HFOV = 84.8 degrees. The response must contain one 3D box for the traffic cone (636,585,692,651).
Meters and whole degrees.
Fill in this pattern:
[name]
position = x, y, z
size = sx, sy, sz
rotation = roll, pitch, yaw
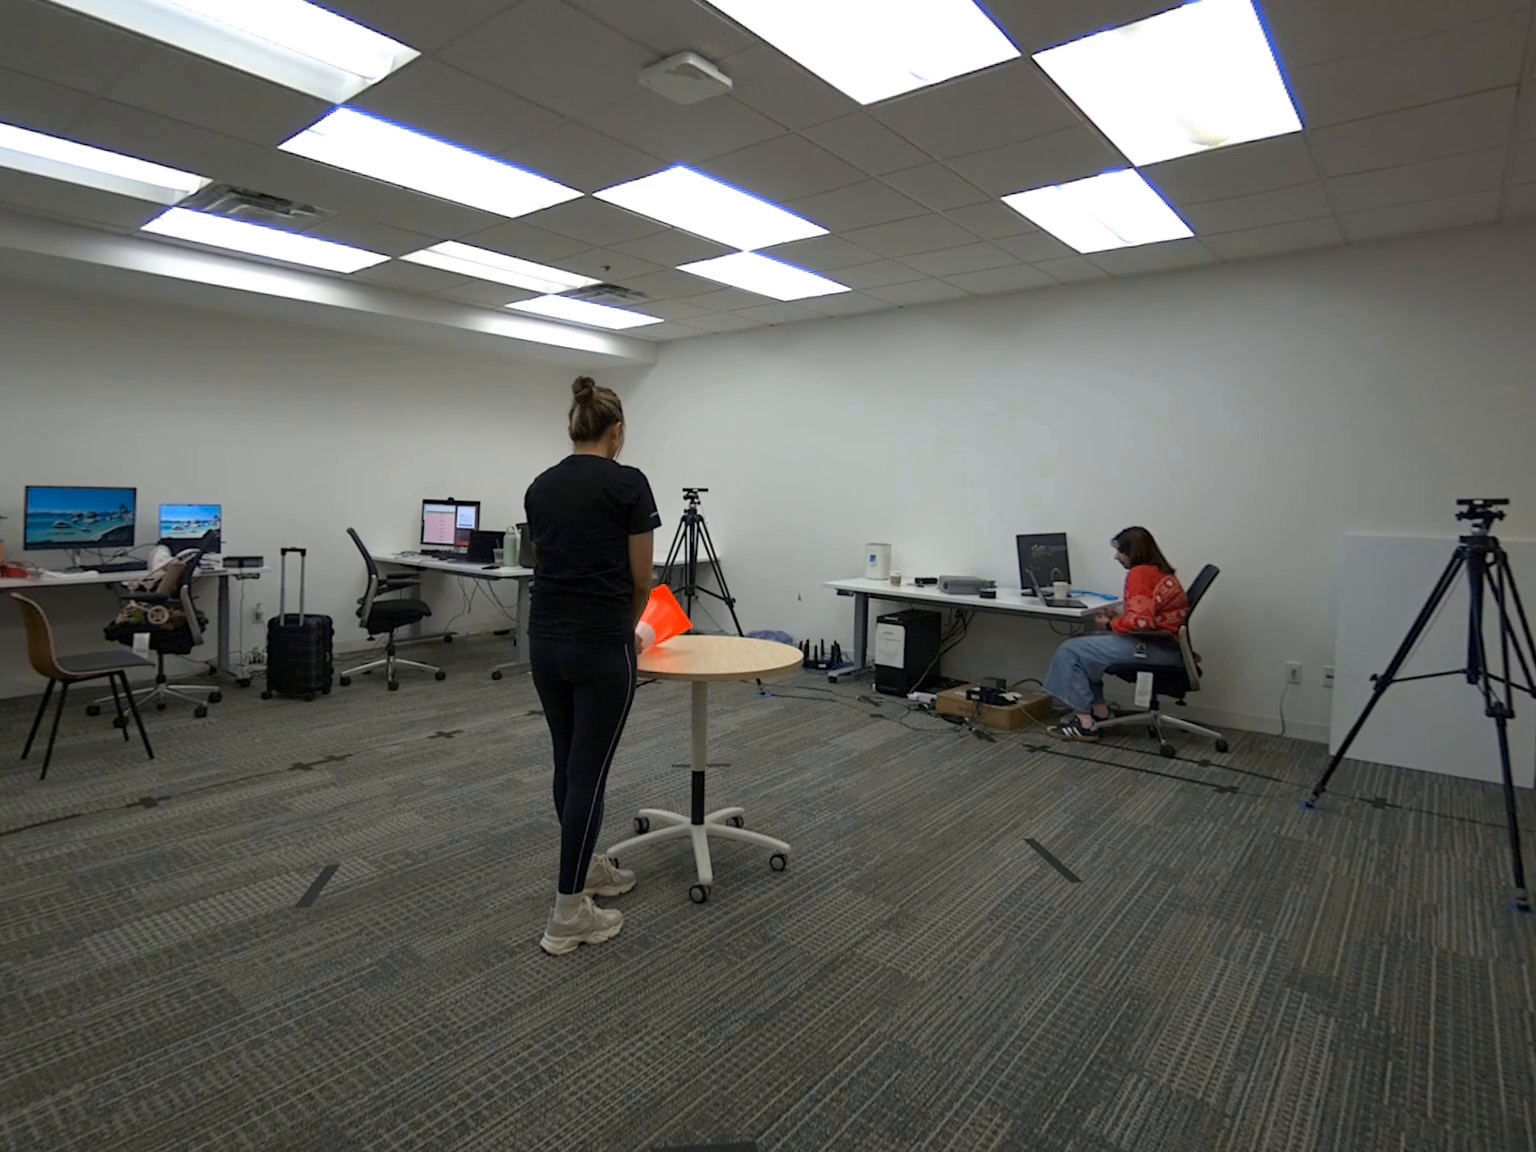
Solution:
[traffic cone]
position = -0.472, 0.219, 3.056
size = 0.207, 0.200, 0.385
rotation = -23, 13, 21
